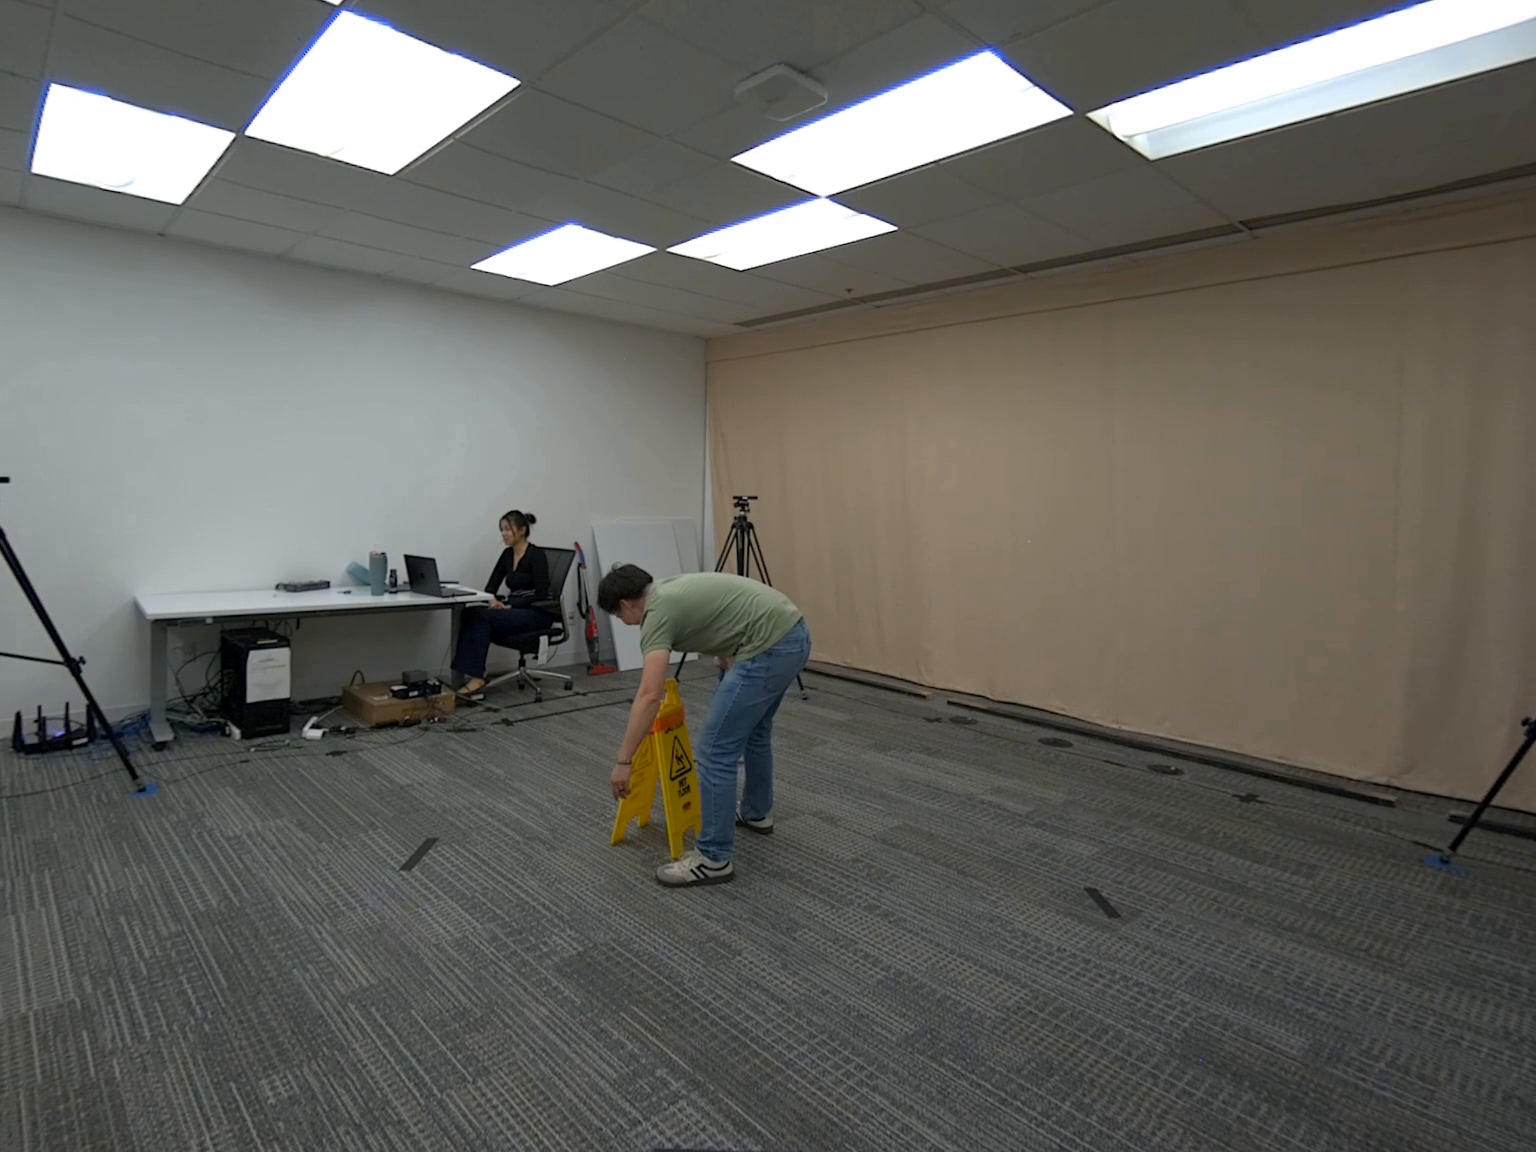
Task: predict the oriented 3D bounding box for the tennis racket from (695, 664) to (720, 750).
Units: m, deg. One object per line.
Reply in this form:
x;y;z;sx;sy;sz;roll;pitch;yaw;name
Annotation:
-0.248;0.583;3.938;0.032;0.434;0.210;12;-3;13;tennis racket
